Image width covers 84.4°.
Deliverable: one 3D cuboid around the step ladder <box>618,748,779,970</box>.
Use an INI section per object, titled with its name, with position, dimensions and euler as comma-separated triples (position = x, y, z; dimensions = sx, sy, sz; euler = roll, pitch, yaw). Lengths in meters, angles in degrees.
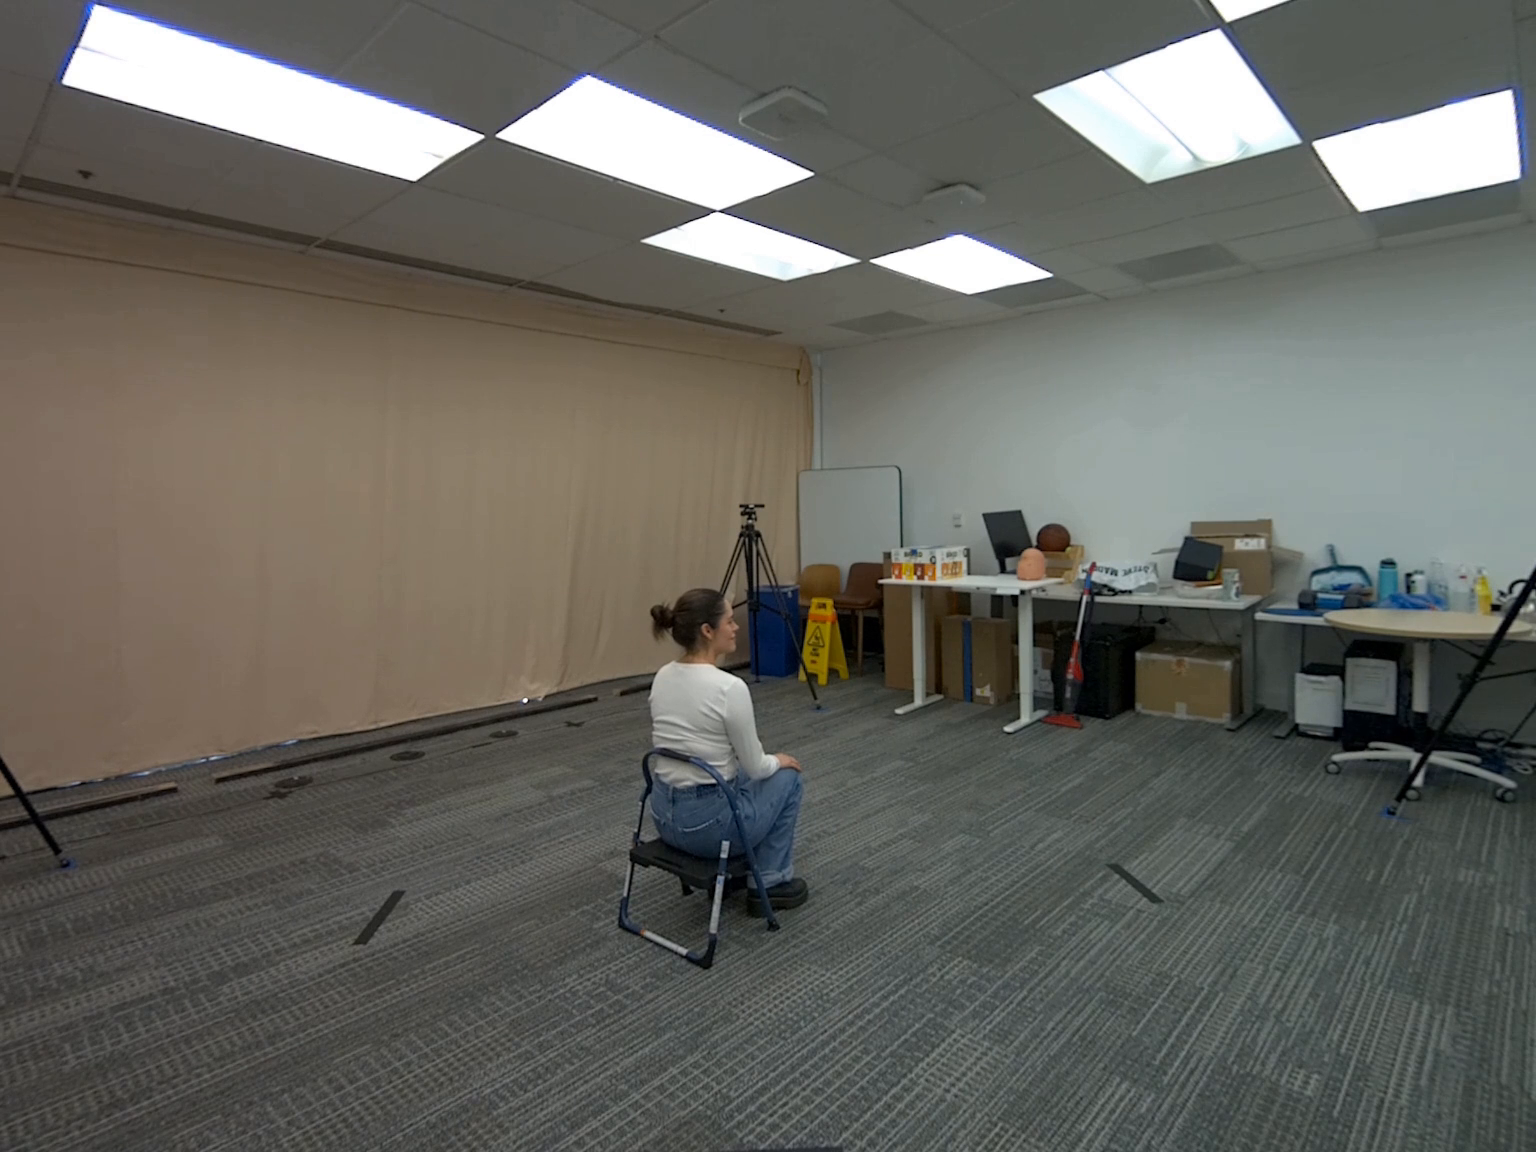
[step ladder]
position = -0.240, 0.860, 2.765
dimensions = 0.445, 0.605, 0.339
euler = 2, 4, 40
